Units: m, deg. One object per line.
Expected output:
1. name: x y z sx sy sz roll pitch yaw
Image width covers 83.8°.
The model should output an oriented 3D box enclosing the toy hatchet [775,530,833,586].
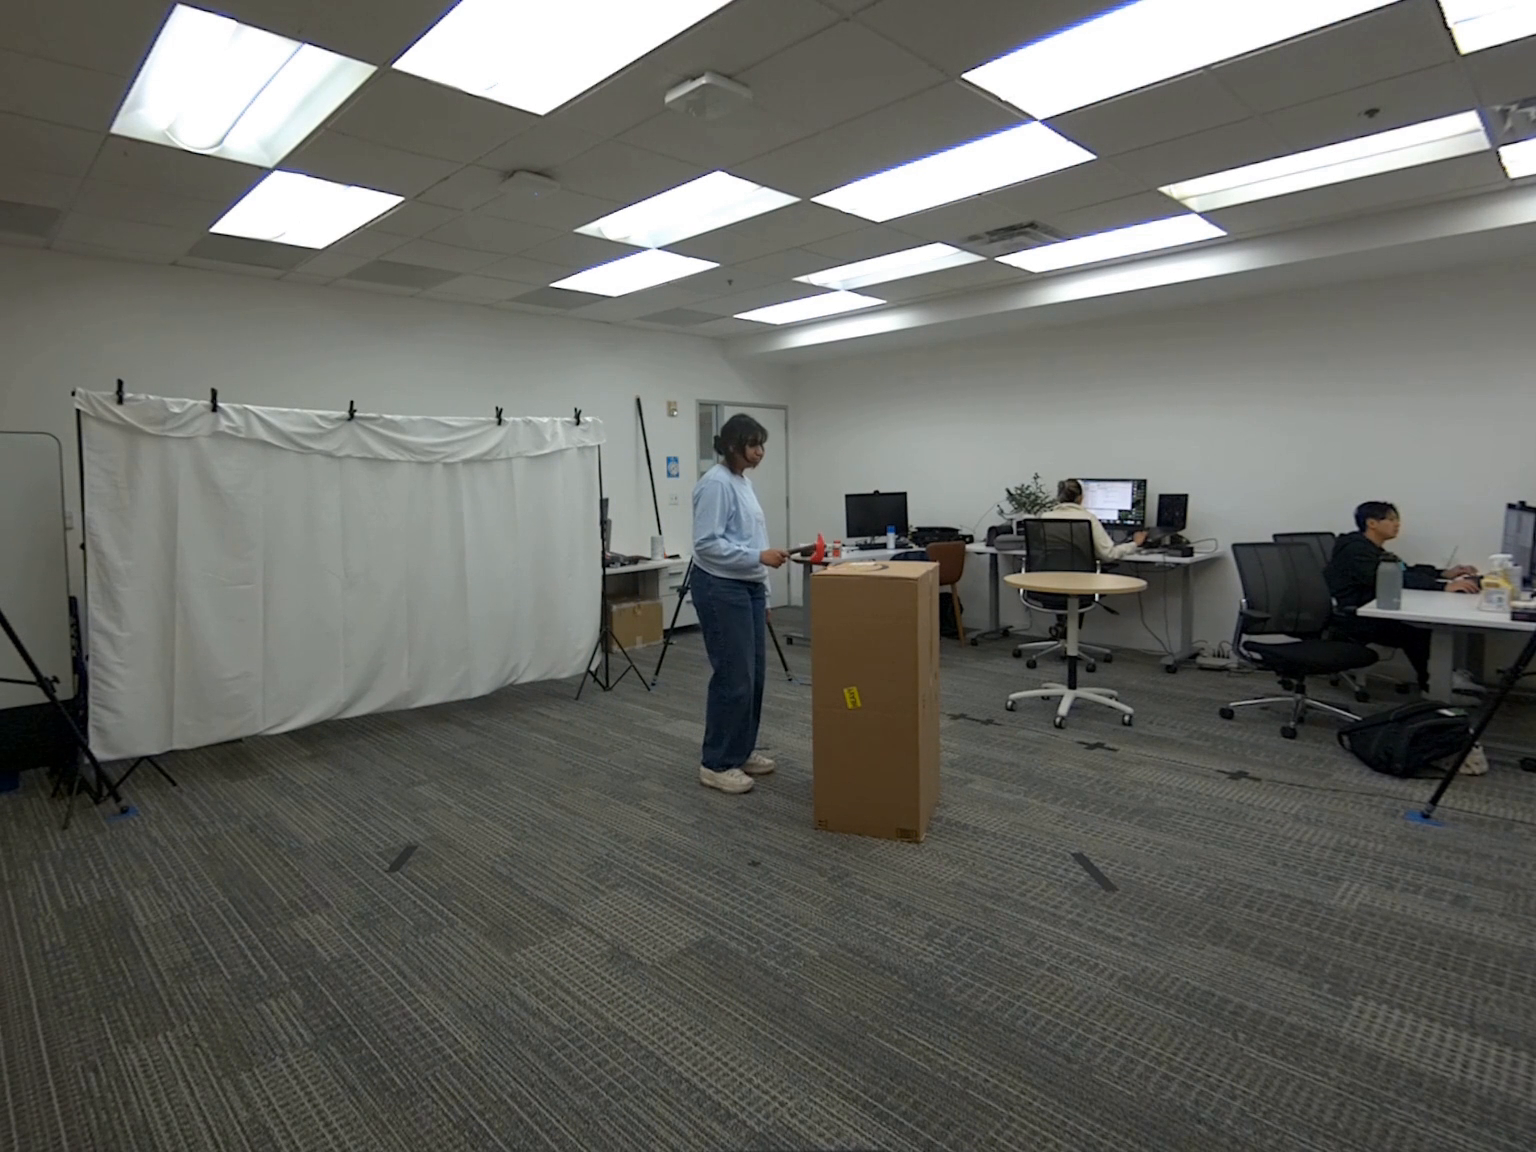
1. toy hatchet: 0.150 -0.084 3.812 0.268 0.127 0.030 -31 29 -14
